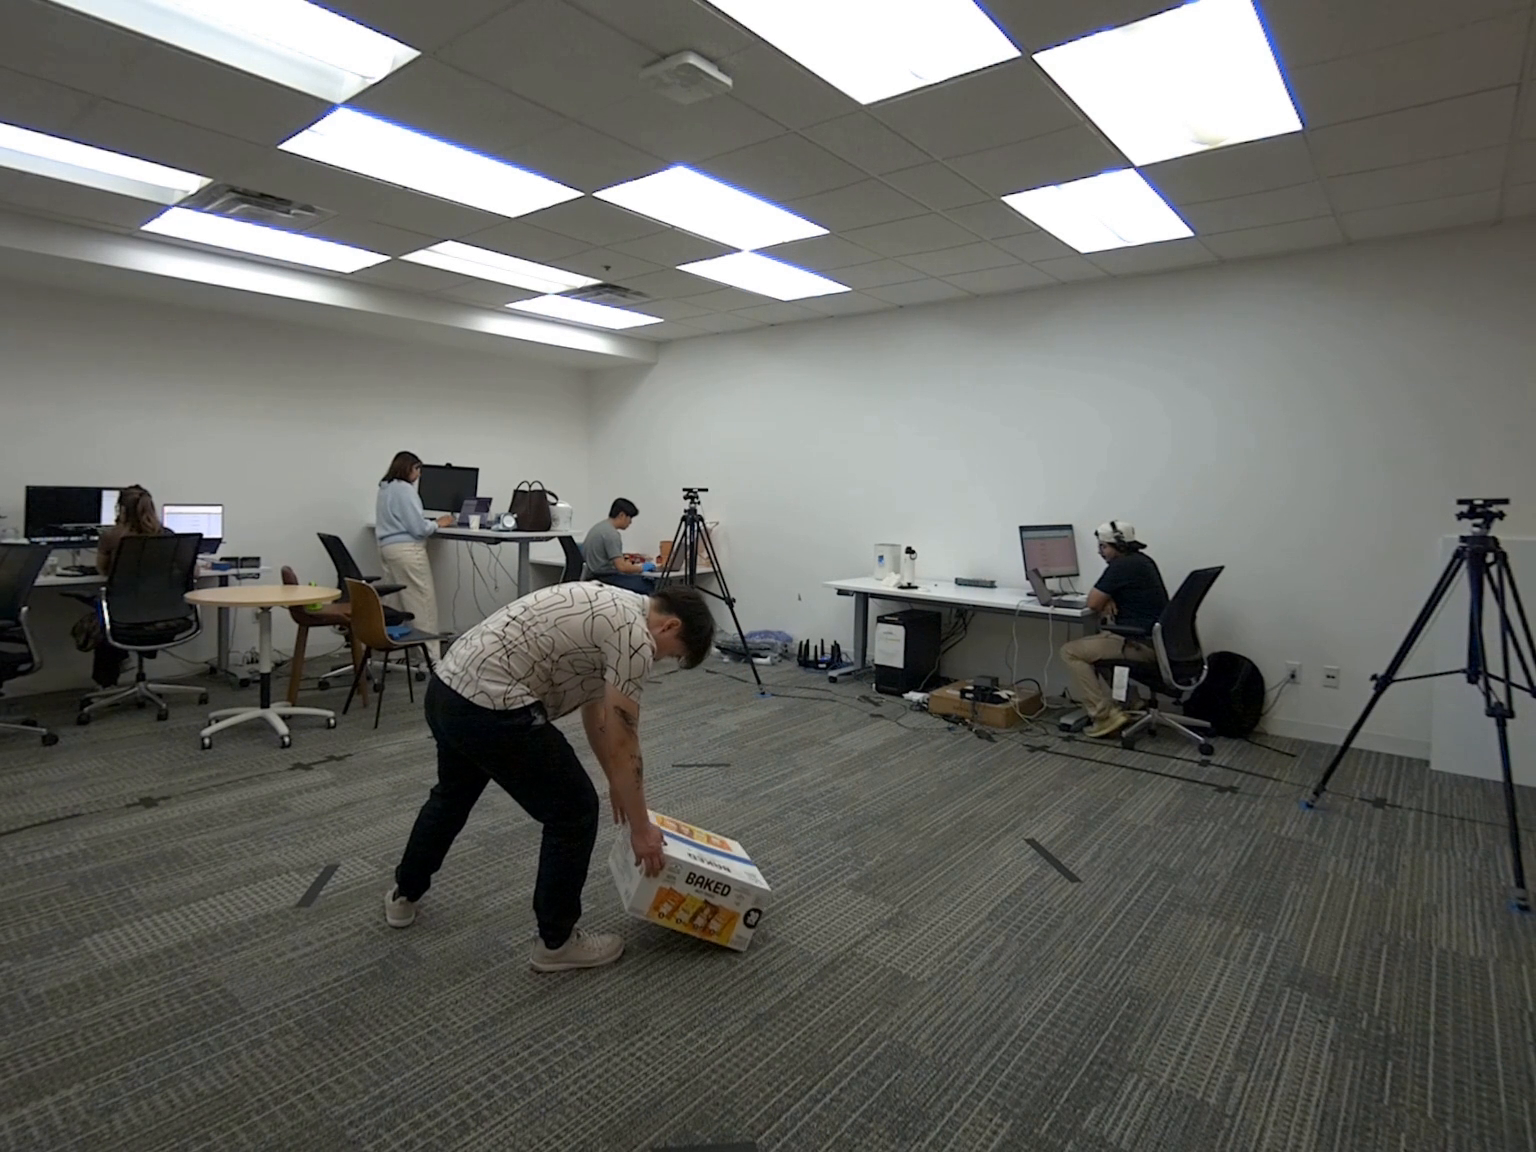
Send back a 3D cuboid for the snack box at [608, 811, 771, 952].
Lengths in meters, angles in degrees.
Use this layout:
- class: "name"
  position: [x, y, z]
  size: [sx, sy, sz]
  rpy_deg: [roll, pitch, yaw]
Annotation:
- class: "snack box"
  position: [-0.266, 0.940, 2.649]
  size: [0.396, 0.206, 0.348]
  rpy_deg: [25, -2, -19]
